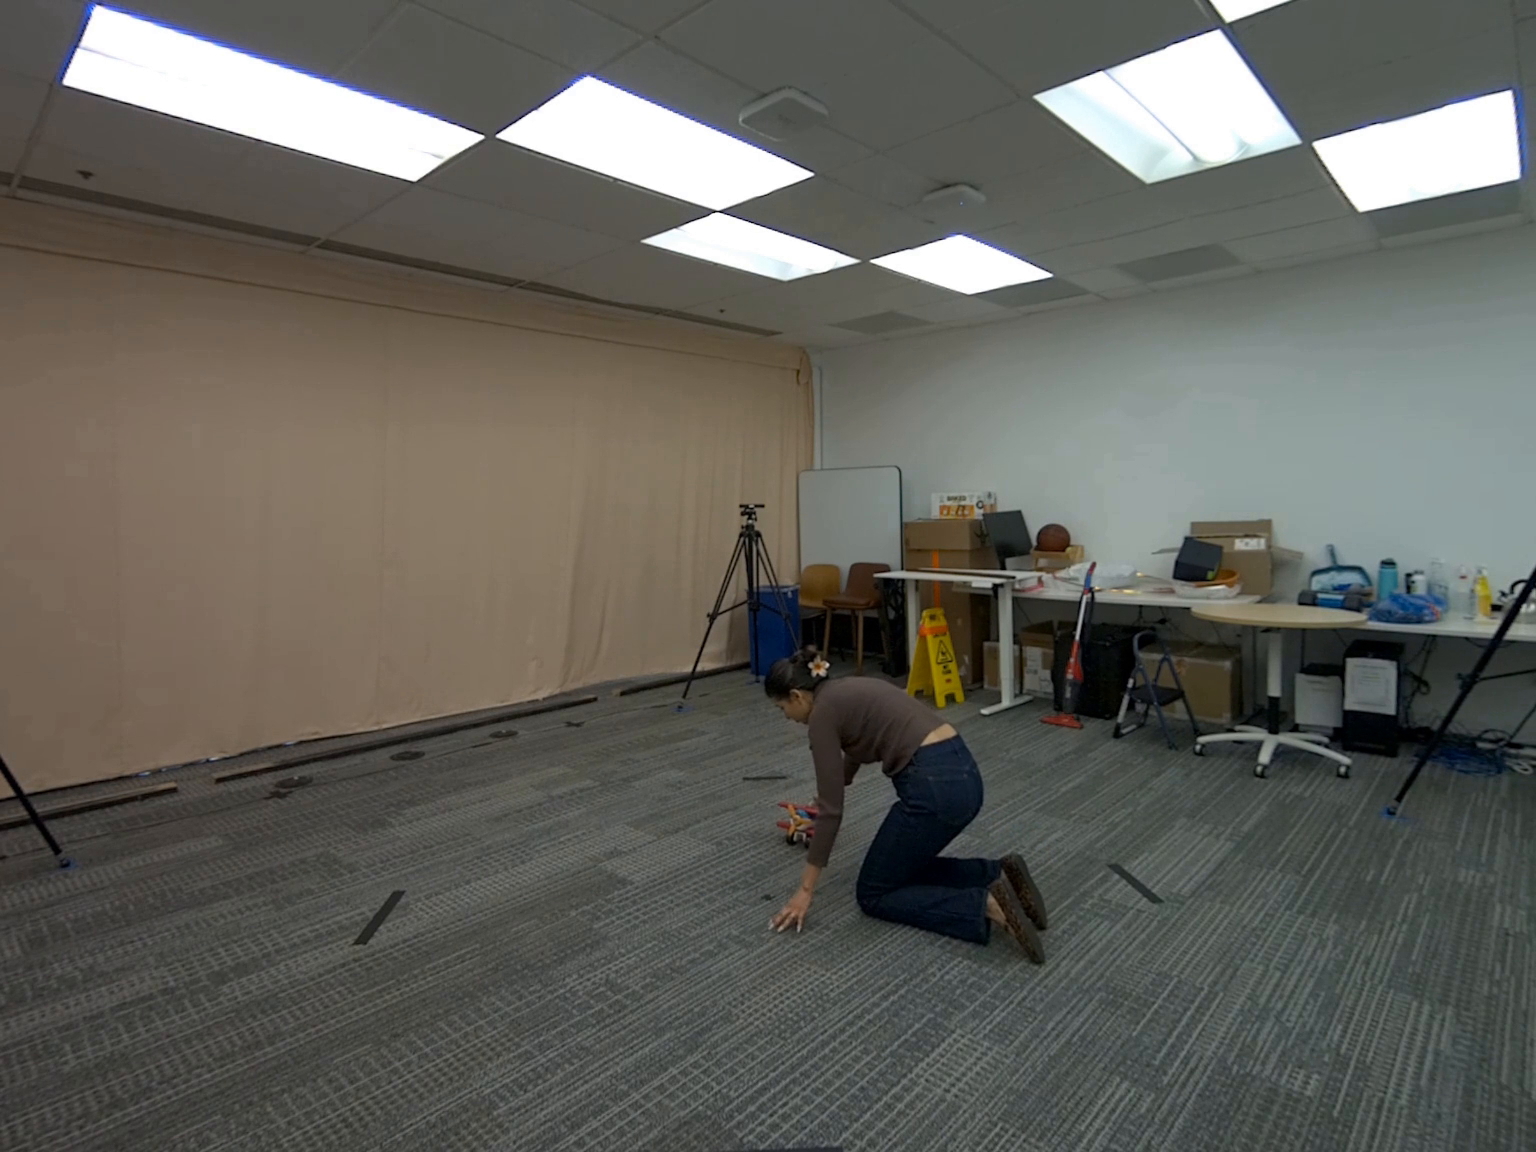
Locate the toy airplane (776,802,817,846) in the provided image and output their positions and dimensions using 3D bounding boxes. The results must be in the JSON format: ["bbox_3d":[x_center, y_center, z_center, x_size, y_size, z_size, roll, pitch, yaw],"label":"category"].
[{"bbox_3d":[0.160,1.018,3.497,0.252,0.156,0.258,0,5,4],"label":"toy airplane"}]
